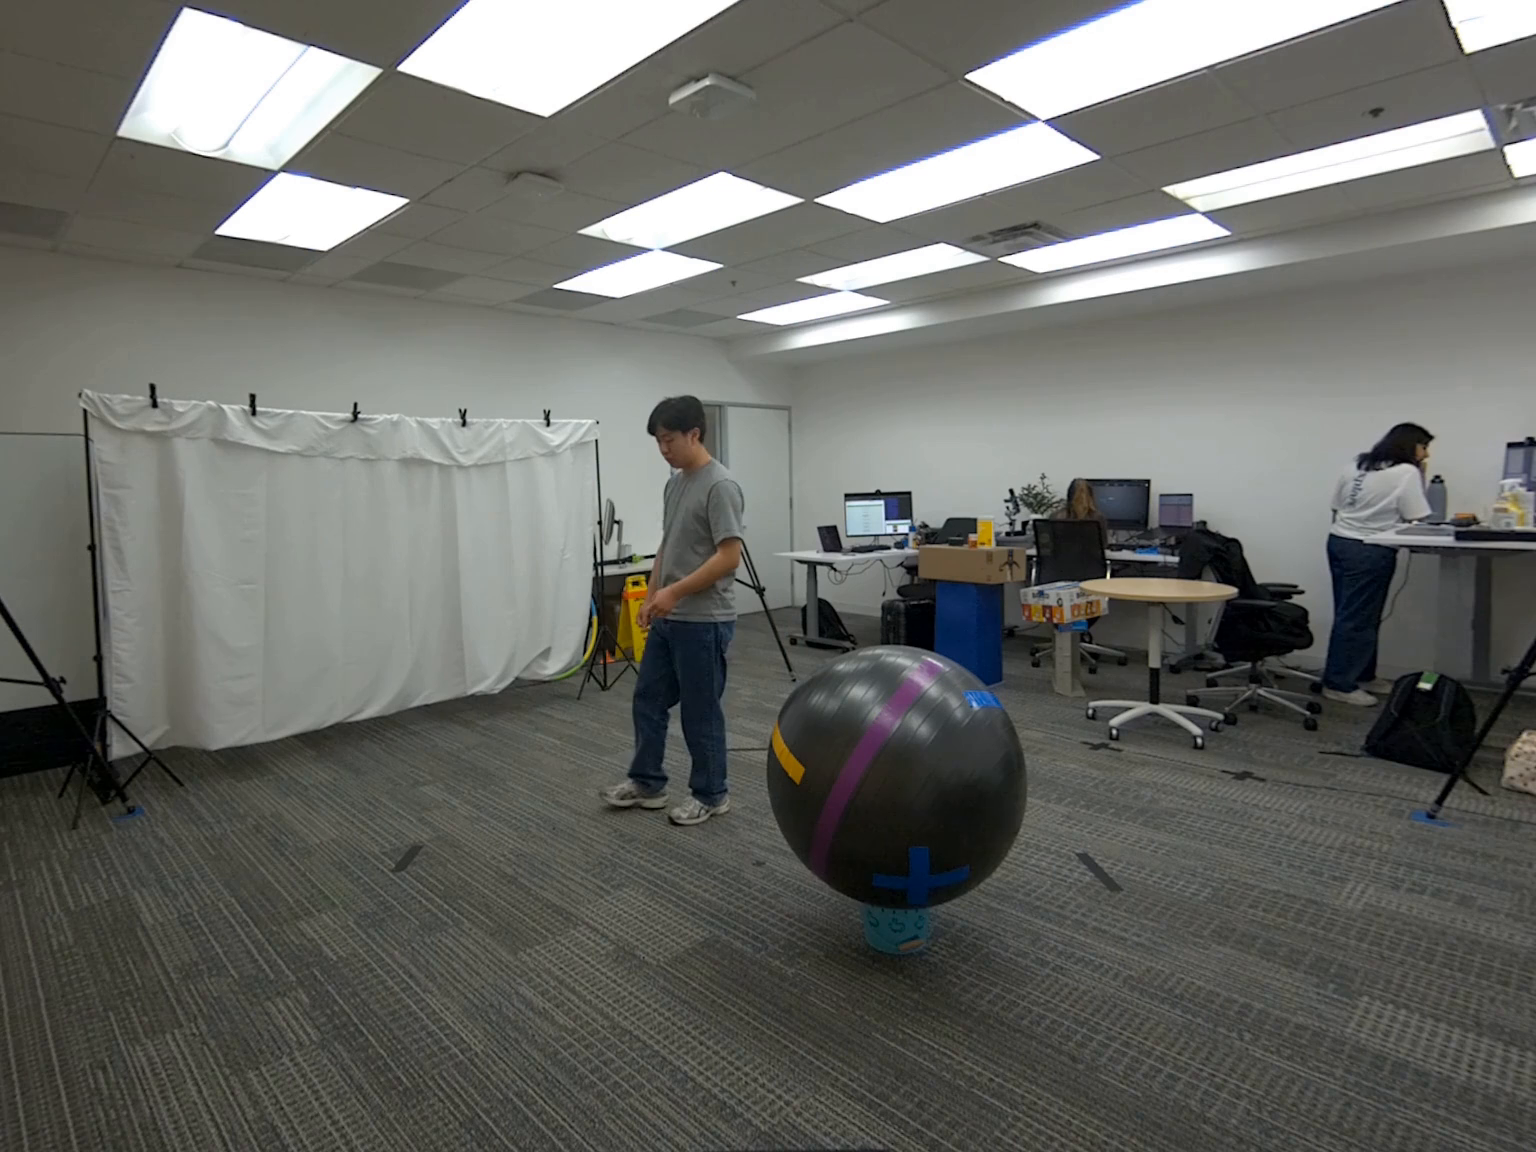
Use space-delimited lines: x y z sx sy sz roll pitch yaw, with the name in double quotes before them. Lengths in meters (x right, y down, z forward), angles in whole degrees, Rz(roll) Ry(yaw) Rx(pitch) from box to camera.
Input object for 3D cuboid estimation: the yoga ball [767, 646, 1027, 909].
"yoga ball" 0.382 0.590 2.558 0.757 0.755 0.762 -1 5 -2
